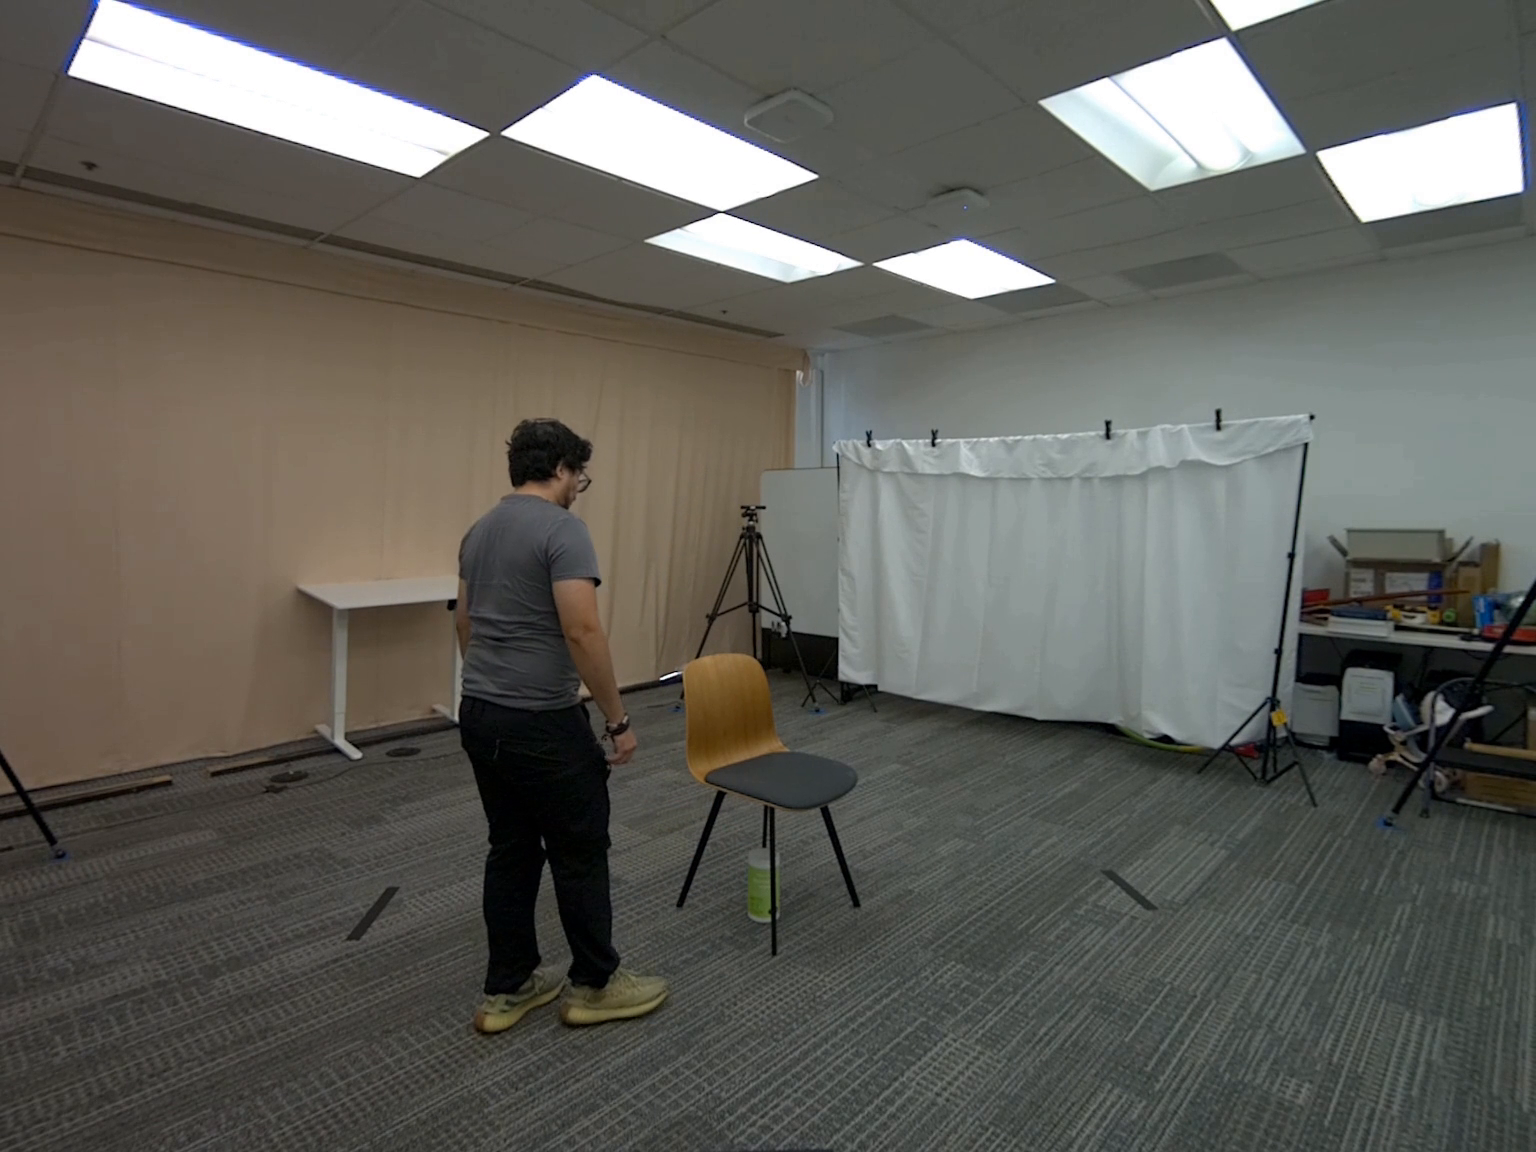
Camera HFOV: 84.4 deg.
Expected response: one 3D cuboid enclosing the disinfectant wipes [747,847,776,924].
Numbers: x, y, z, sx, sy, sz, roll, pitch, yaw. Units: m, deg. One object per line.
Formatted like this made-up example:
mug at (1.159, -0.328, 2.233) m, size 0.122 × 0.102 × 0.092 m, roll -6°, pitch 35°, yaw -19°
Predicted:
disinfectant wipes at (-0.015, 1.057, 2.843) m, size 0.118 × 0.217 × 0.118 m, roll -1°, pitch 5°, yaw -2°
